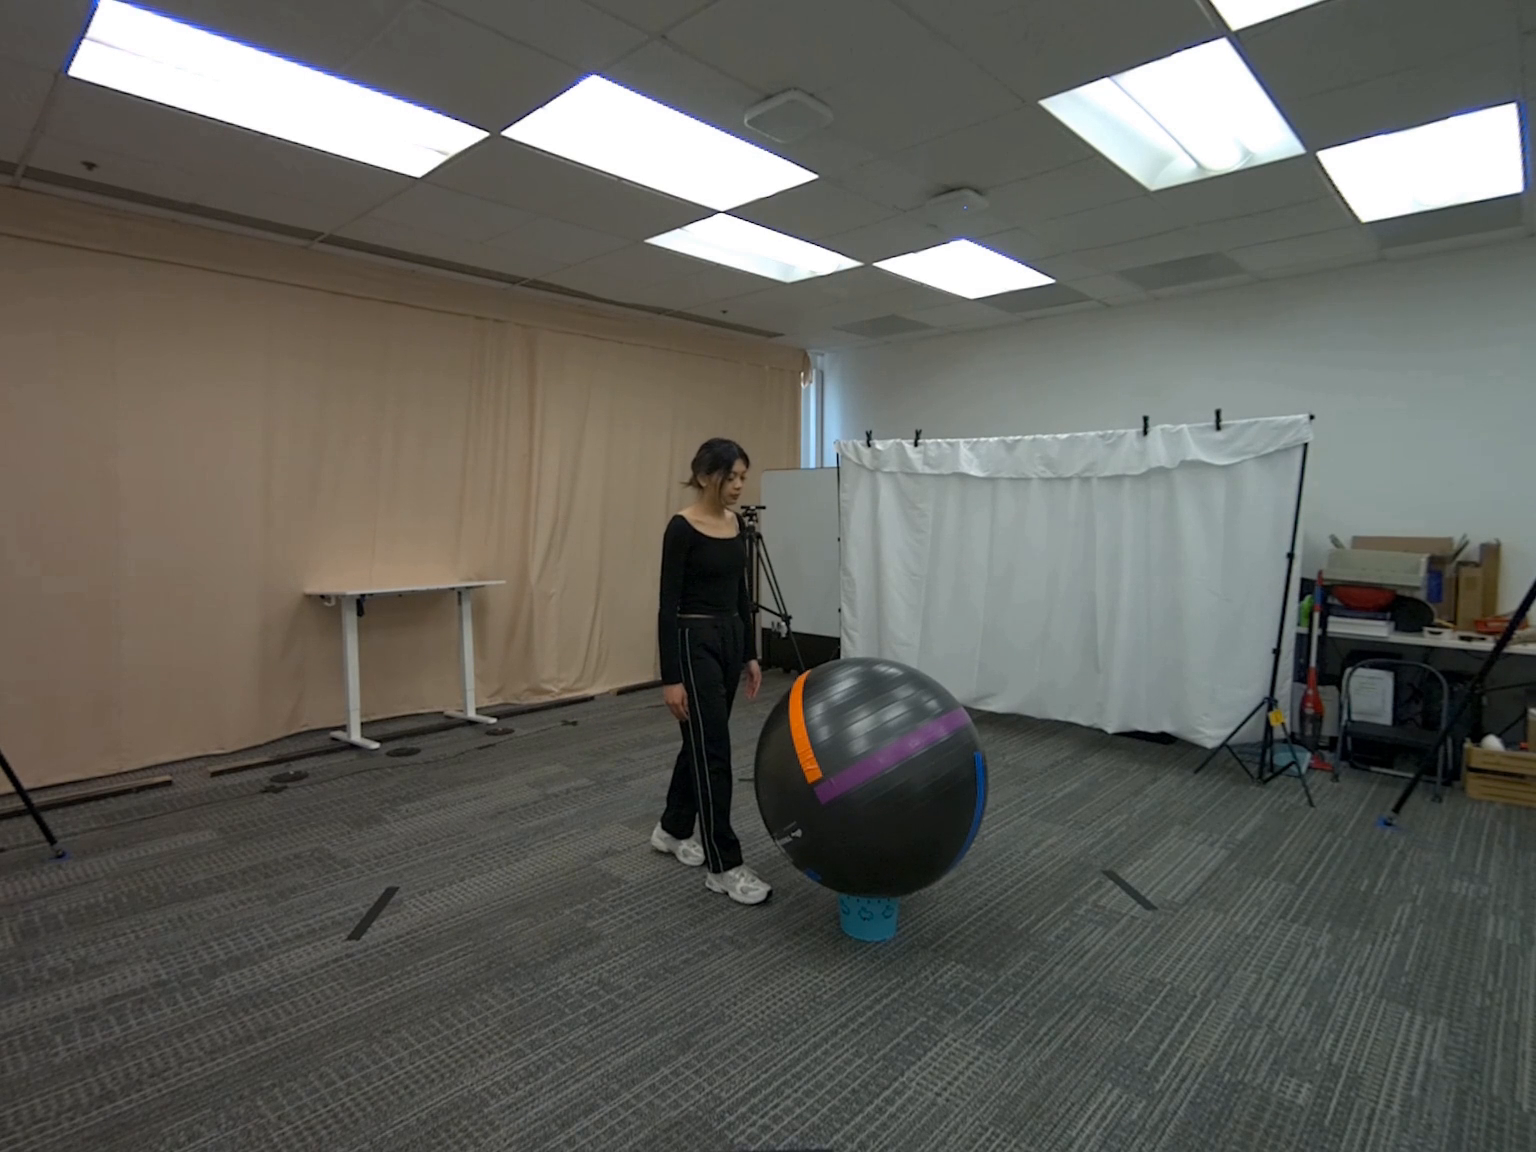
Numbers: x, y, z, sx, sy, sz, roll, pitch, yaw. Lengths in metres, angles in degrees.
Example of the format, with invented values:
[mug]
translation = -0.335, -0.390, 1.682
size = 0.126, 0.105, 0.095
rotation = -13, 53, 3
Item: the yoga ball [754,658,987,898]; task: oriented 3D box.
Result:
[yoga ball]
translation = 0.338, 0.656, 2.762
size = 0.757, 0.756, 0.760
rotation = 0, 4, -2
